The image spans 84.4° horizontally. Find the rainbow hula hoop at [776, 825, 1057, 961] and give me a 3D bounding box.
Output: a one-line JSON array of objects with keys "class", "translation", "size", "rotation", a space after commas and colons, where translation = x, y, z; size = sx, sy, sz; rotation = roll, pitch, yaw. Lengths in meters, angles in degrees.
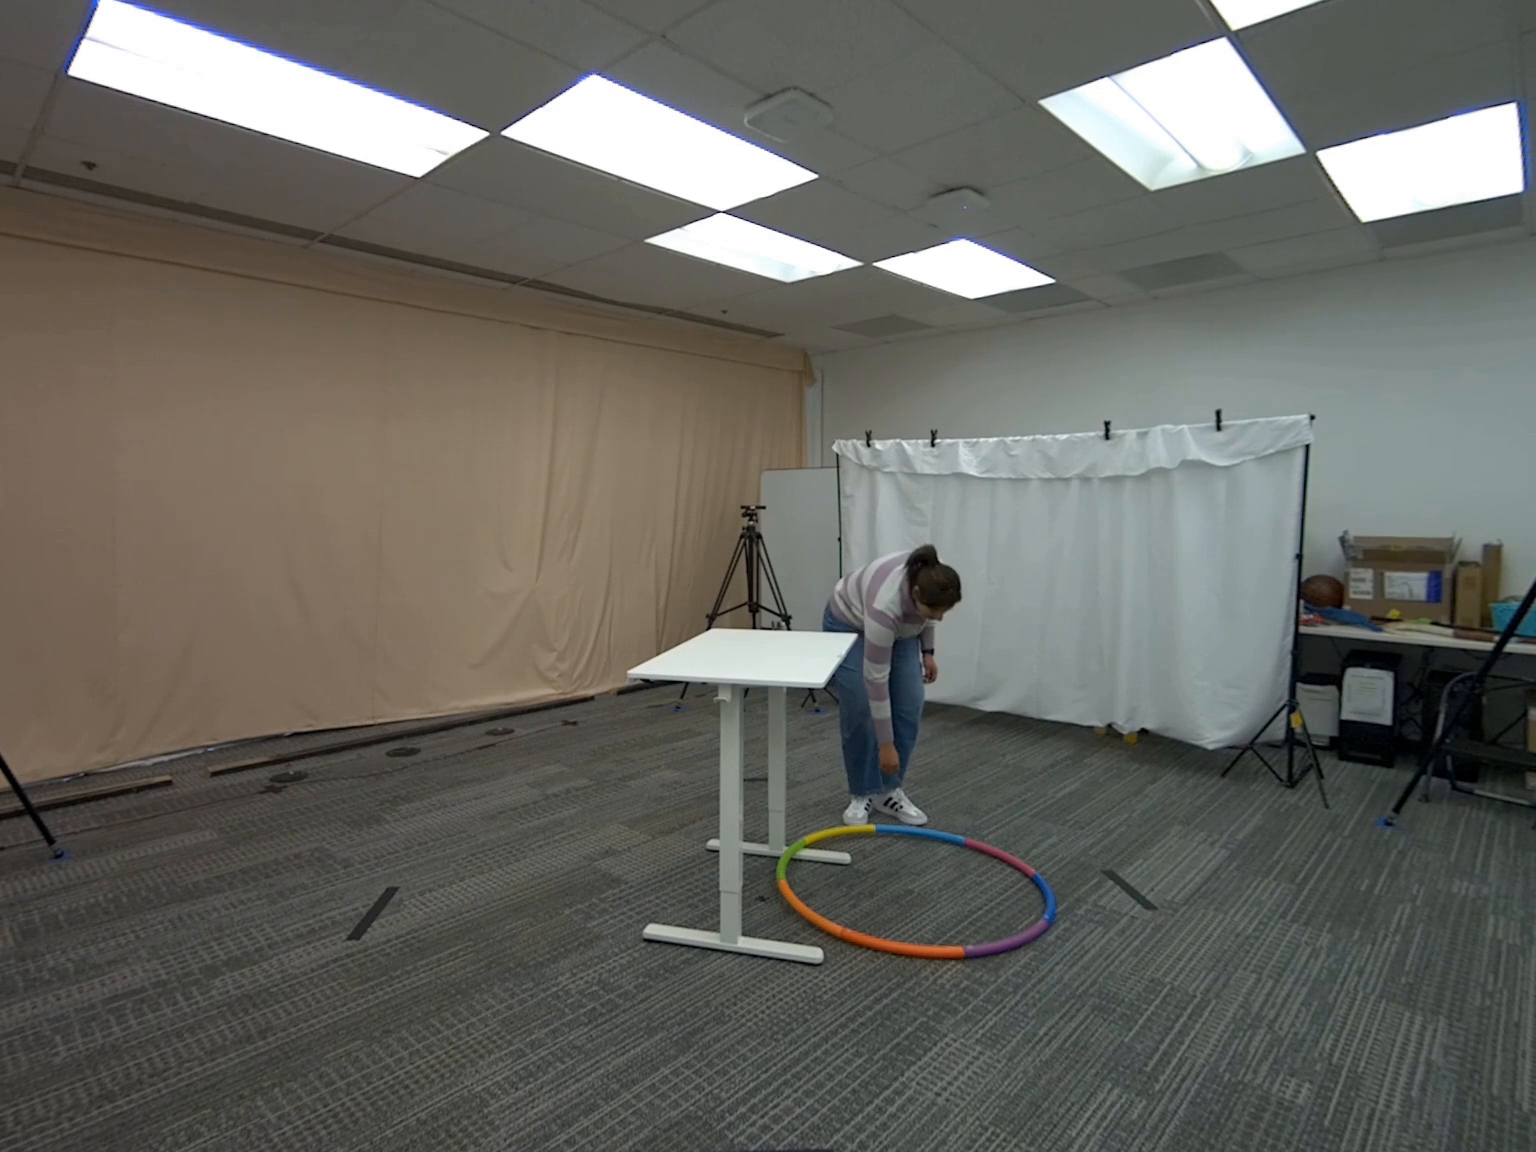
[{"class": "rainbow hula hoop", "translation": [0.533, 1.105, 3.061], "size": [0.978, 0.035, 0.983], "rotation": [1, 6, -2]}]
